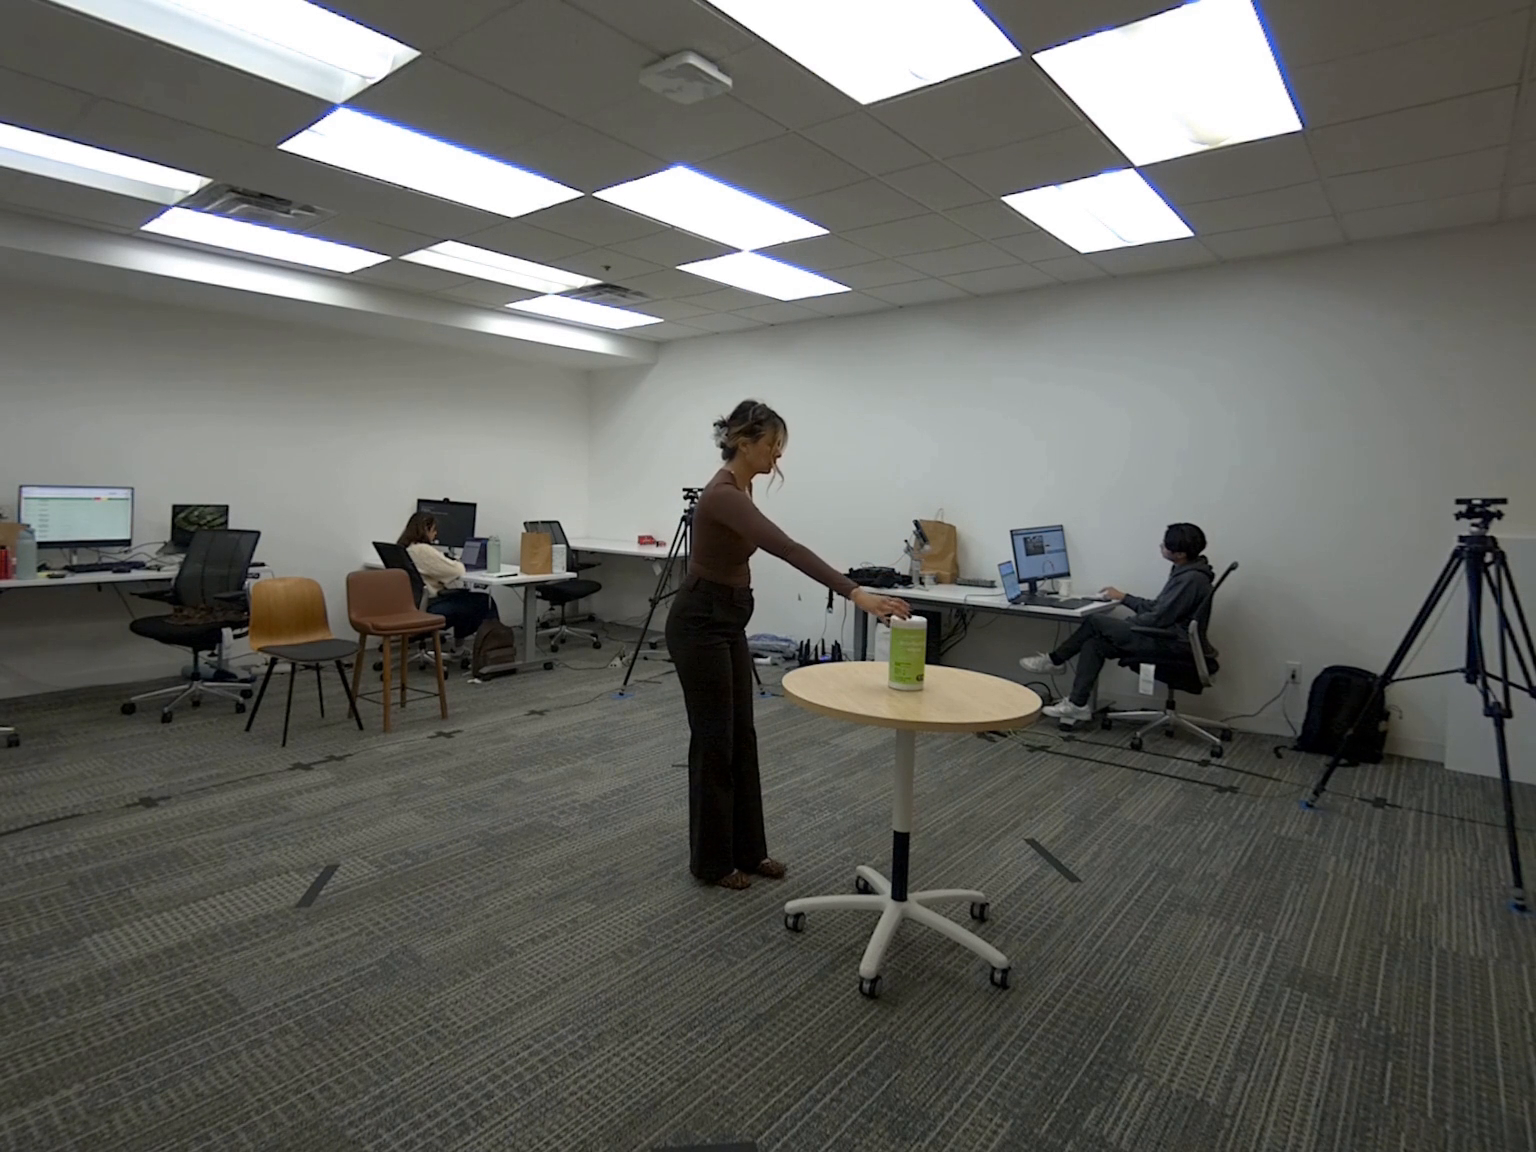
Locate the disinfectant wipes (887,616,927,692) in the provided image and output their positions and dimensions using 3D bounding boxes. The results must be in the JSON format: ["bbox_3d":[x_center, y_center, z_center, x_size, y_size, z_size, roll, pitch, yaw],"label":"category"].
[{"bbox_3d":[0.420,0.231,2.583,0.118,0.217,0.118,1,4,-2],"label":"disinfectant wipes"}]
